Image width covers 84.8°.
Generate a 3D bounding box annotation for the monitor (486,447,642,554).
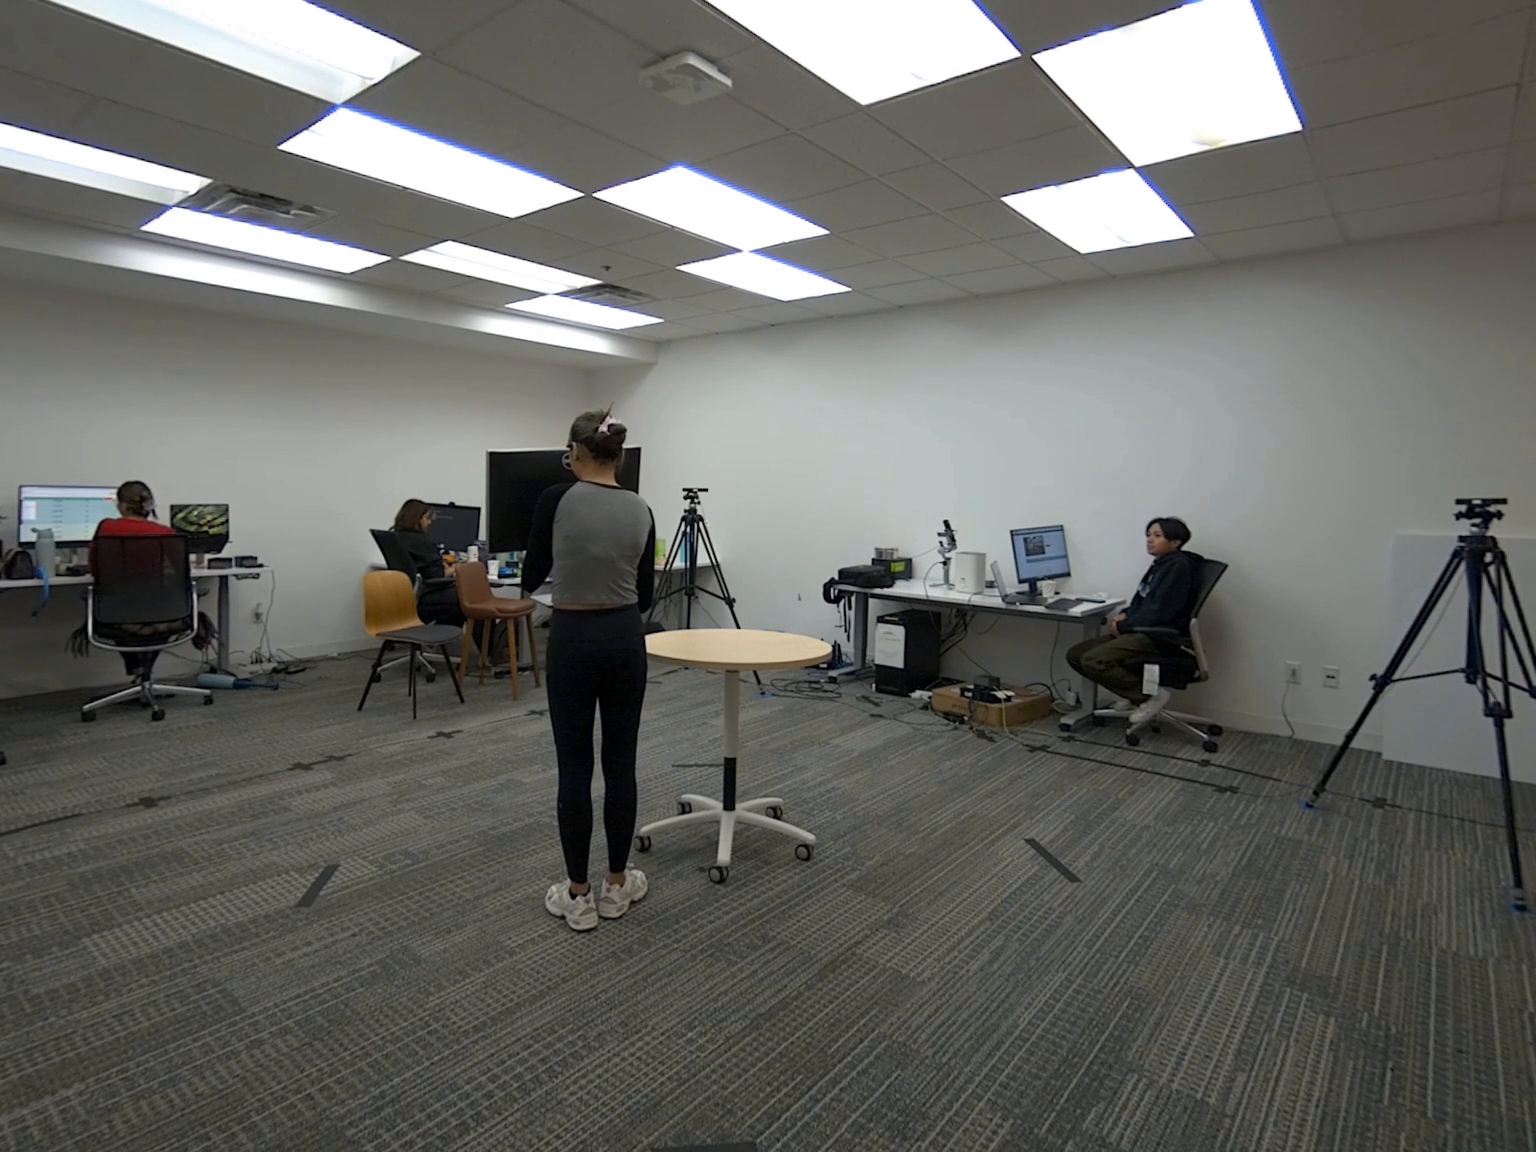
[{"bbox_3d":[-0.708,-0.181,2.989,0.525,0.519,0.193,-5,8,-32],"label":"monitor"}]
